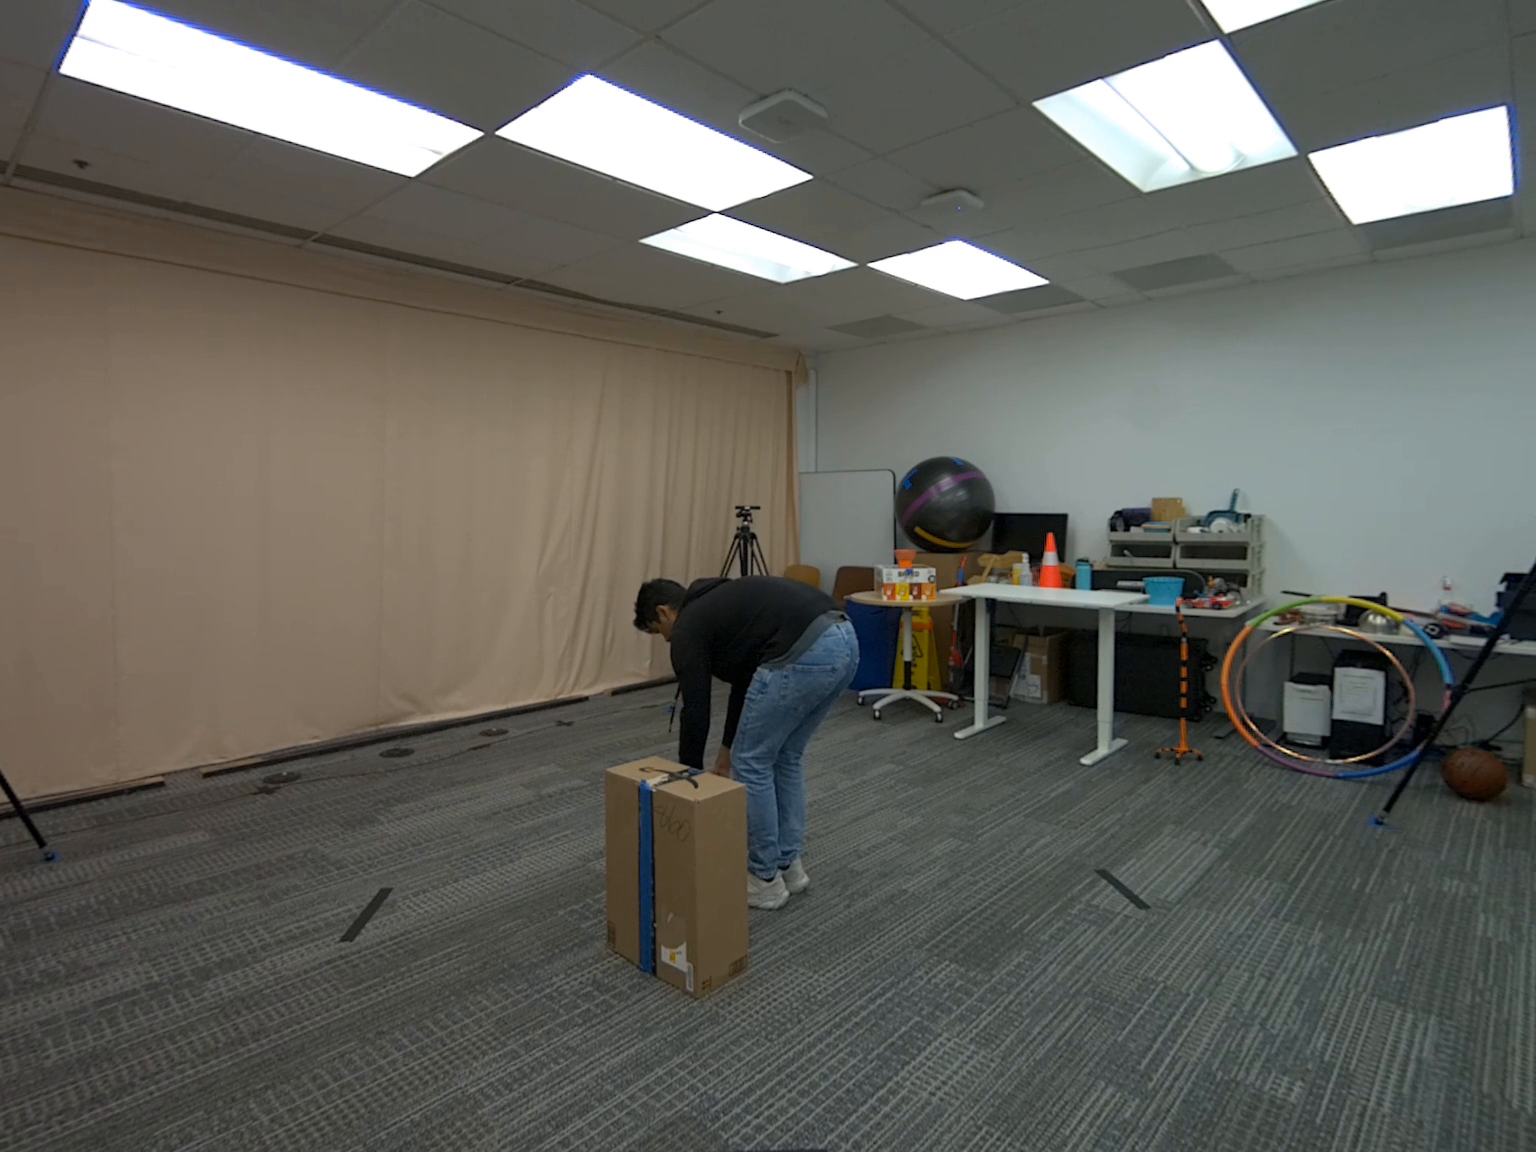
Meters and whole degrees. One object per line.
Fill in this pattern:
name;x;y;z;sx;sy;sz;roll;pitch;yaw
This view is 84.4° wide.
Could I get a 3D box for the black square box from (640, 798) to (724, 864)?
black square box;-0.332;0.971;3.251;0.223;0.156;0.221;-3;0;33
